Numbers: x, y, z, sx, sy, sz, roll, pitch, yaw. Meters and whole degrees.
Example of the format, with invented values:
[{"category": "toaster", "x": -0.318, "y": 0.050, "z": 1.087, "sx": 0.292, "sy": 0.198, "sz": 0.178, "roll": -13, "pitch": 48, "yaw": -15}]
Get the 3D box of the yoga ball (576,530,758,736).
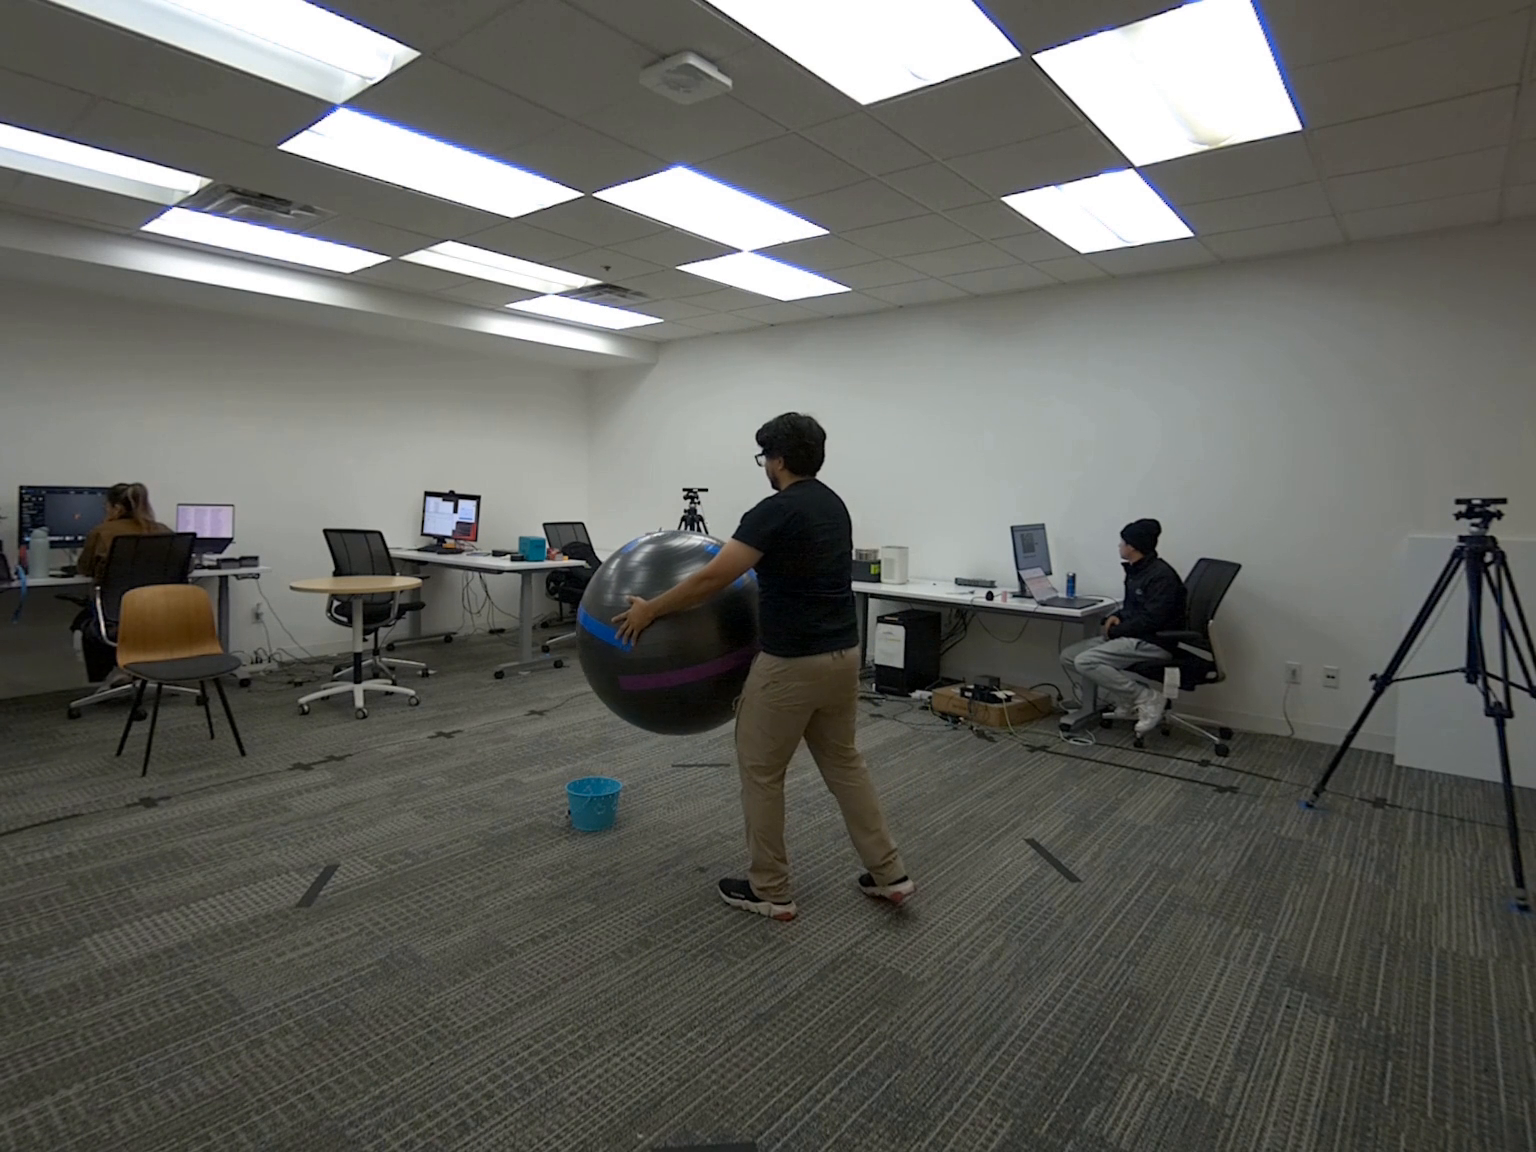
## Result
[{"category": "yoga ball", "x": -0.353, "y": 0.211, "z": 3.186, "sx": 0.757, "sy": 0.756, "sz": 0.761, "roll": 1, "pitch": 4, "yaw": -2}]
